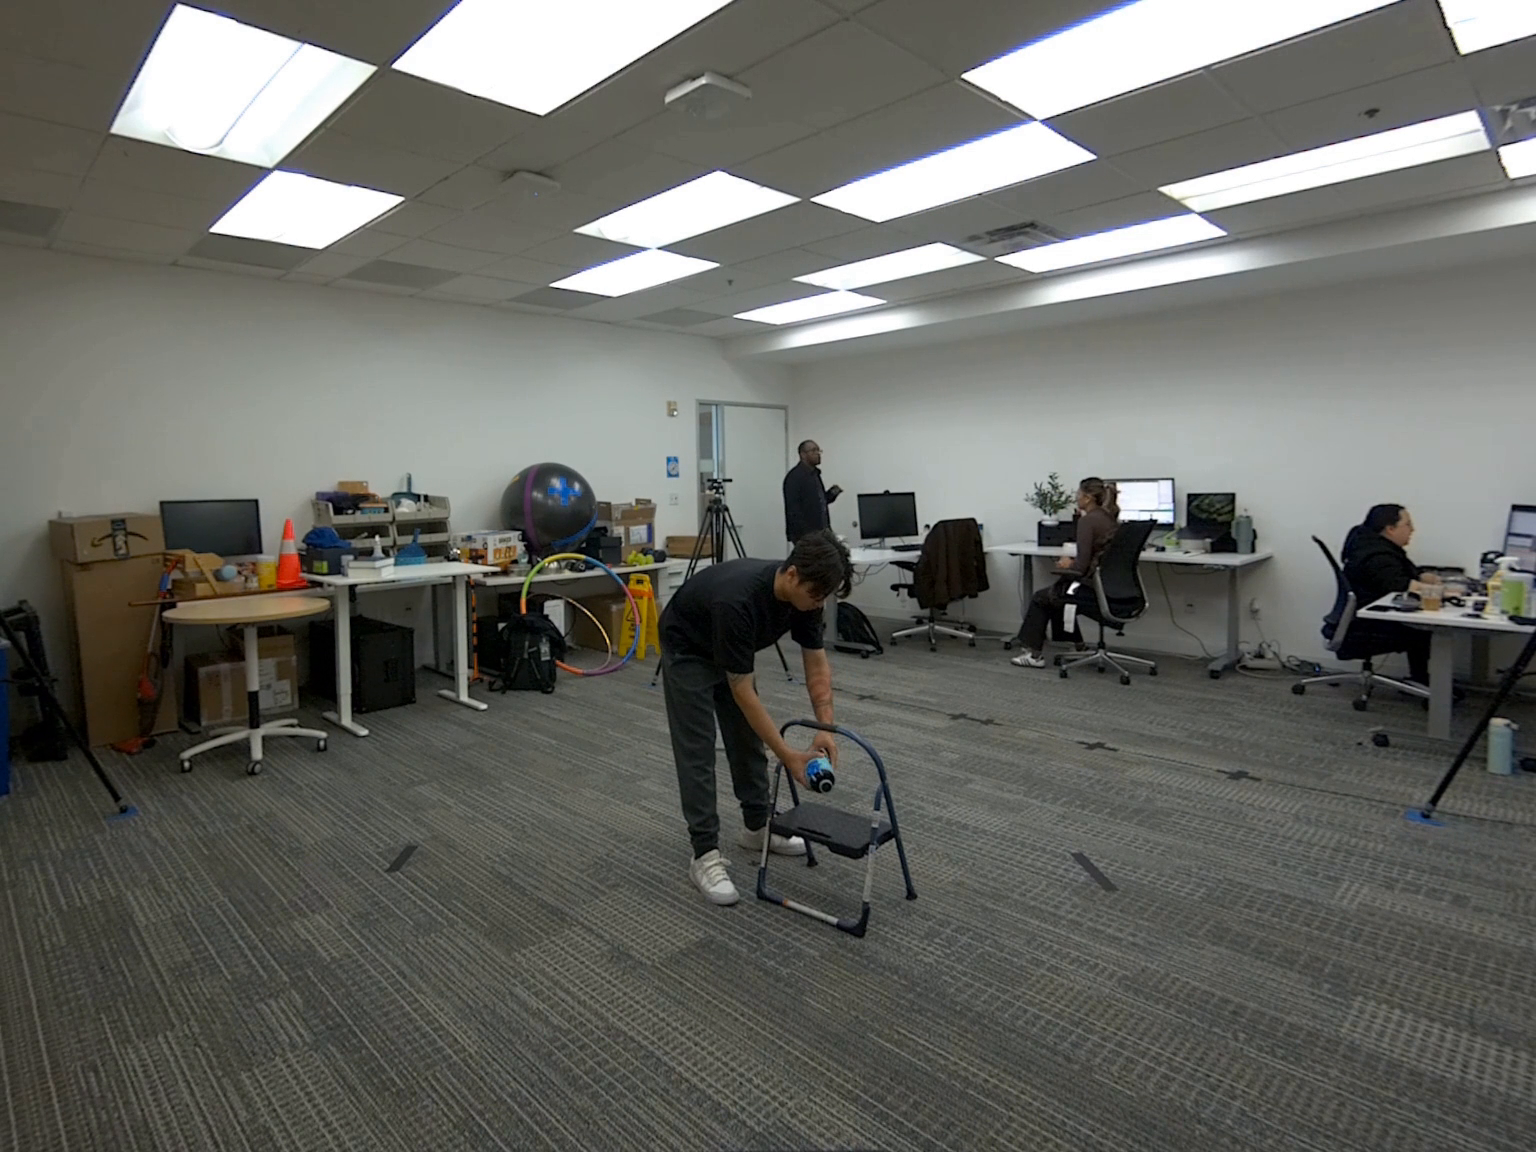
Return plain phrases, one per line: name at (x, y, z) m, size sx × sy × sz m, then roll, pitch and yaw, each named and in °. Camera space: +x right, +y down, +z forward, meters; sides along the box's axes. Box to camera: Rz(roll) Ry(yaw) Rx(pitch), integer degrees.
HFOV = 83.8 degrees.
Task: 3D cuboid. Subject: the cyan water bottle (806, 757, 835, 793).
cyan water bottle at (0.160, 0.632, 2.742) m, size 0.092 × 0.092 × 0.284 m, roll -1°, pitch 2°, yaw -4°
